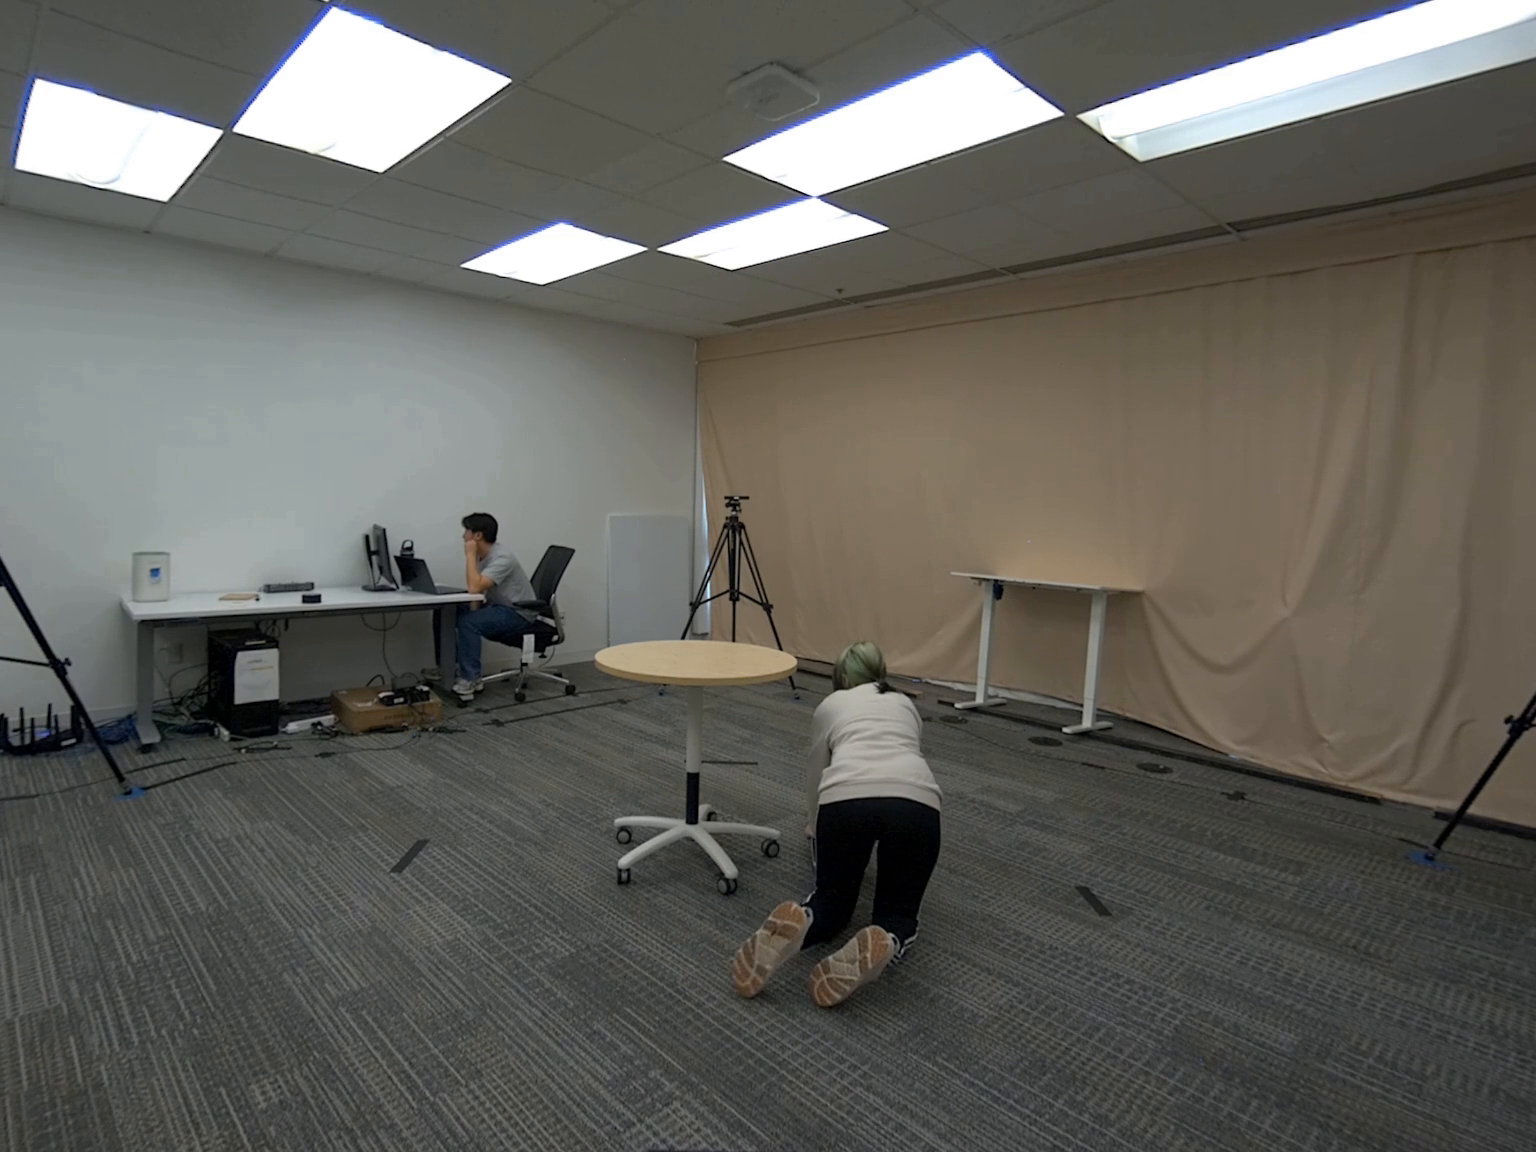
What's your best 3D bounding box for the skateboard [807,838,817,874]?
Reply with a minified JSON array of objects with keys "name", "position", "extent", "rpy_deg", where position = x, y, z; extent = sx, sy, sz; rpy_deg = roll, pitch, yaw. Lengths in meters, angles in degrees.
[{"name":"skateboard","position":[0.256,1.043,3.303],"extent":[0.194,0.110,0.786],"rpy_deg":[3,5,1]}]
